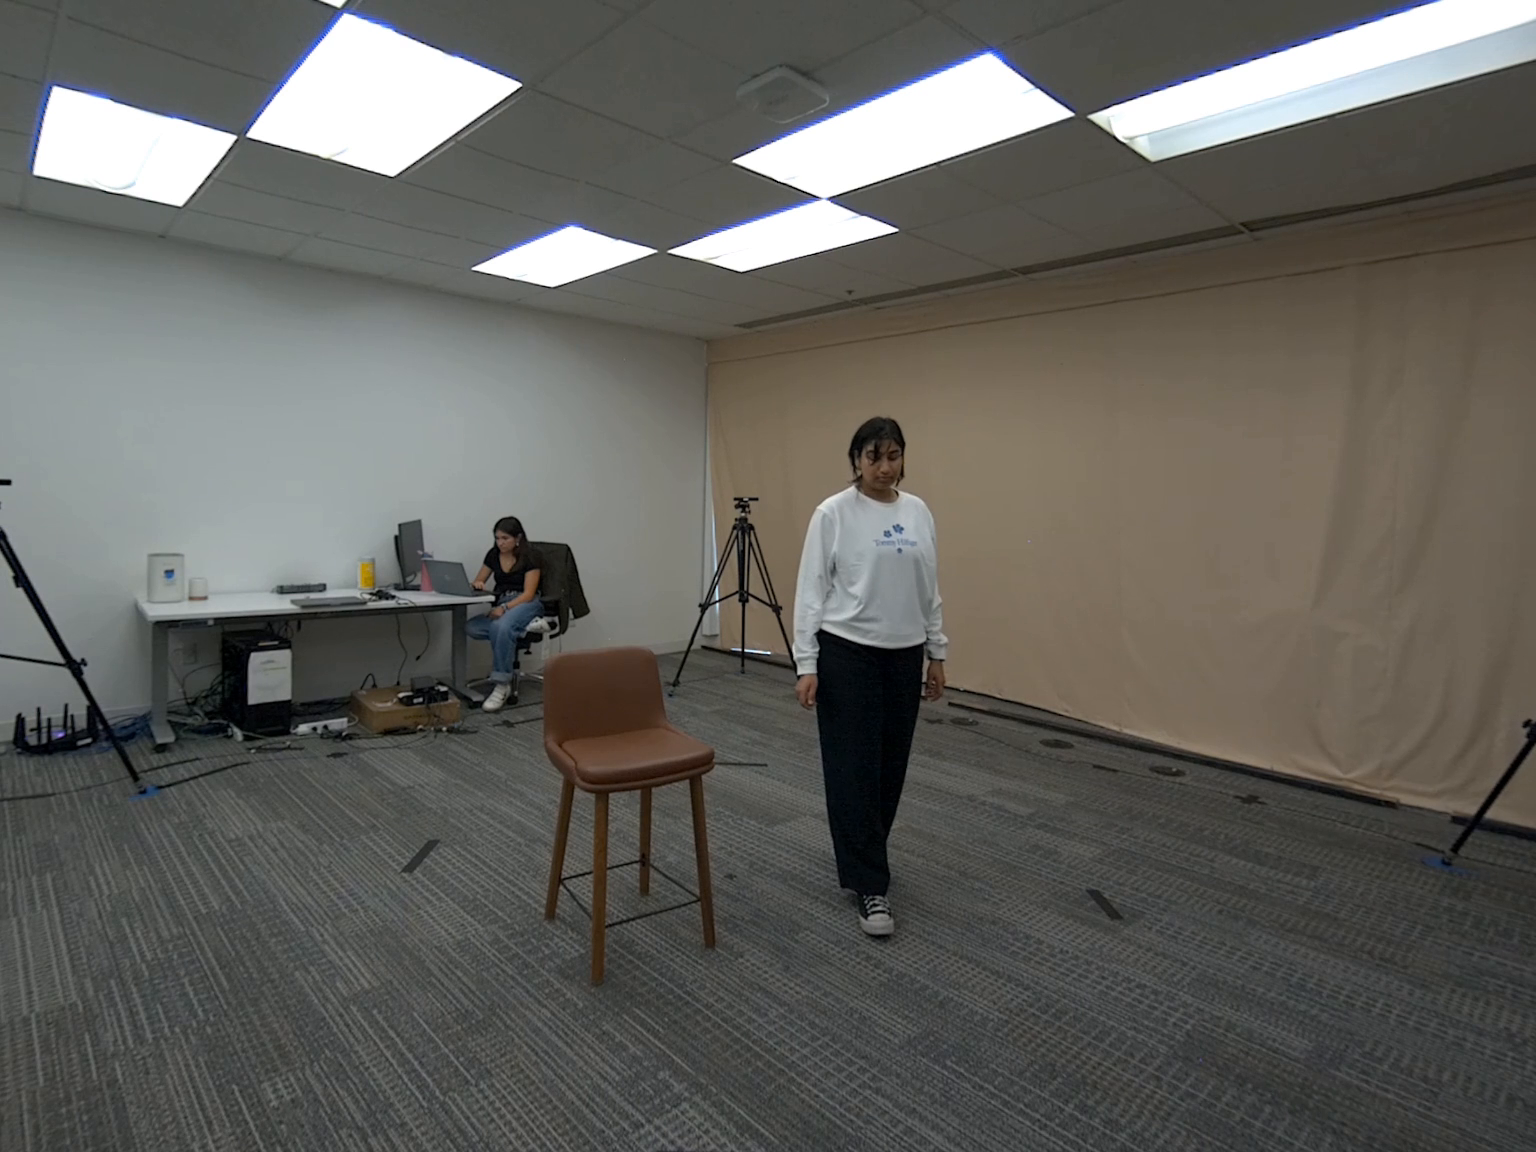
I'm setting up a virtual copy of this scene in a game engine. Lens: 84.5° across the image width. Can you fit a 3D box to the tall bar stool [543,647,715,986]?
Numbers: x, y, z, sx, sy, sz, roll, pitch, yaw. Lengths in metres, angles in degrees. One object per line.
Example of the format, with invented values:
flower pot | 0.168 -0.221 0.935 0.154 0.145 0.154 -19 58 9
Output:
tall bar stool | -0.454 0.710 2.658 0.447 0.888 0.478 -1 2 -34
